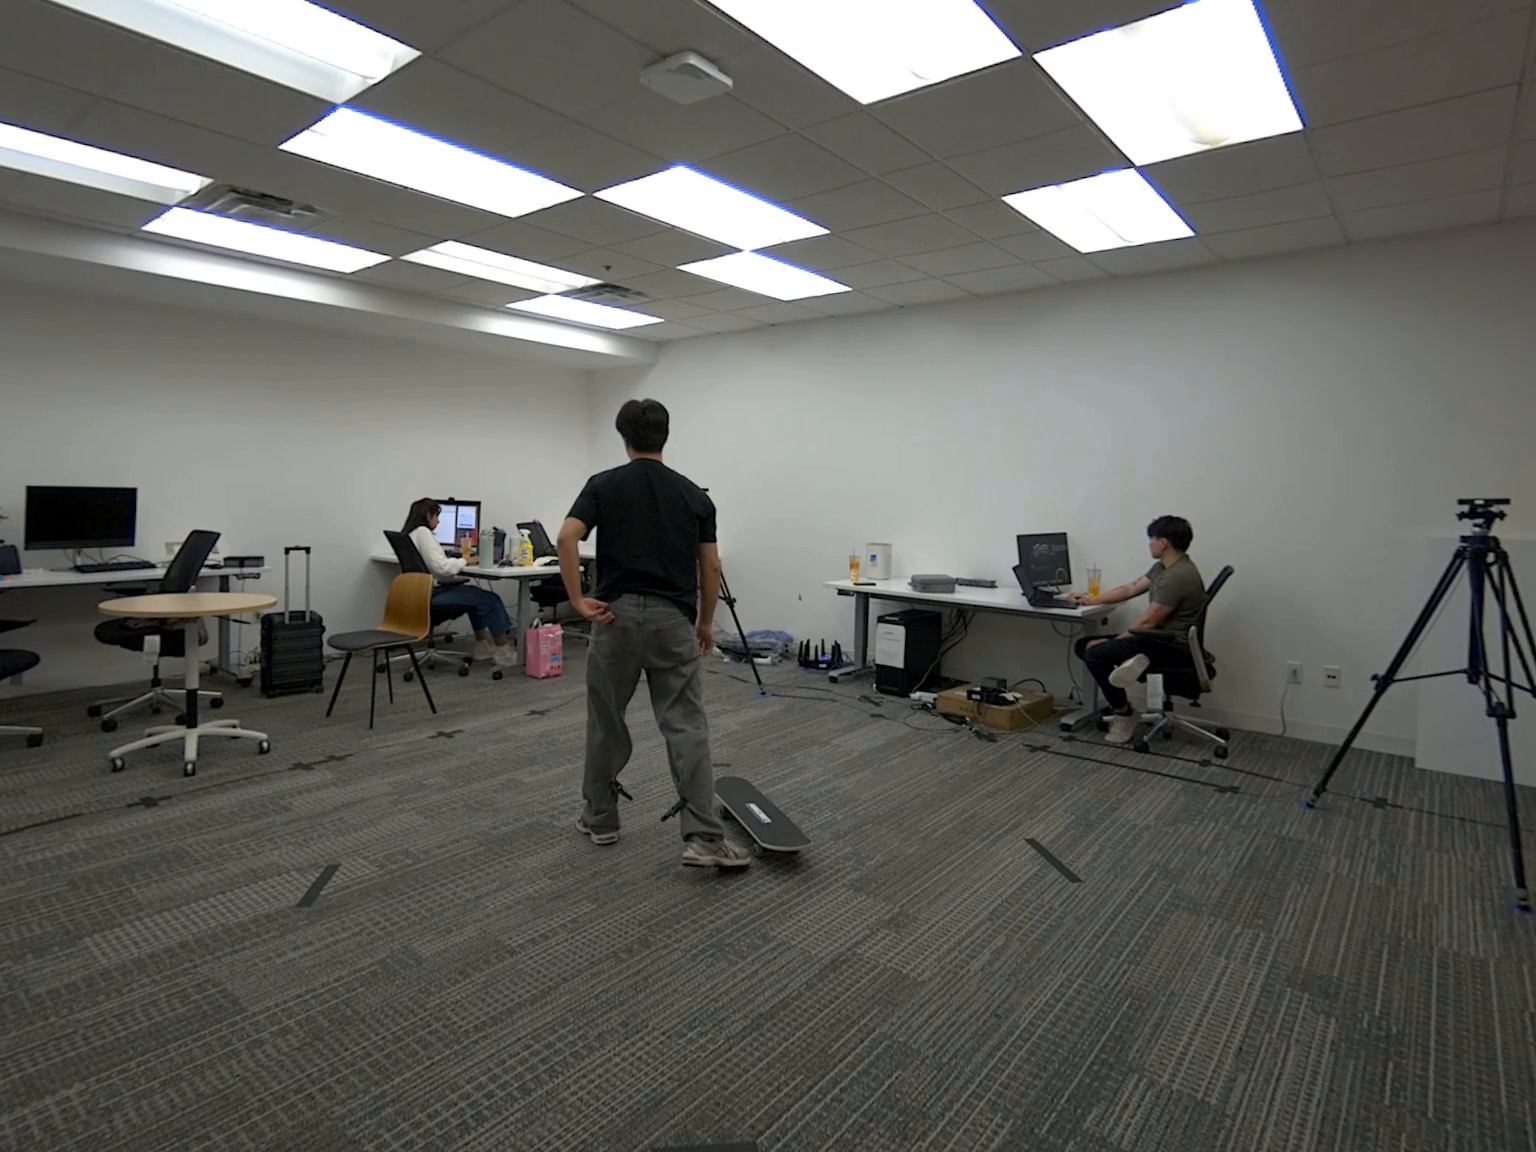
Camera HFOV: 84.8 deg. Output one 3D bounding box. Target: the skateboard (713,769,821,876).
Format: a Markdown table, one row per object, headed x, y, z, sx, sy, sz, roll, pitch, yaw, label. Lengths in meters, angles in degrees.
| x | y | z | sx | sy | sz | roll | pitch | yaw | label |
| --- | --- | --- | --- | --- | --- | --- | --- | --- | --- |
| -0.051 | 0.979 | 3.427 | 0.189 | 0.110 | 0.805 | 0 | 6 | -22 | skateboard |
